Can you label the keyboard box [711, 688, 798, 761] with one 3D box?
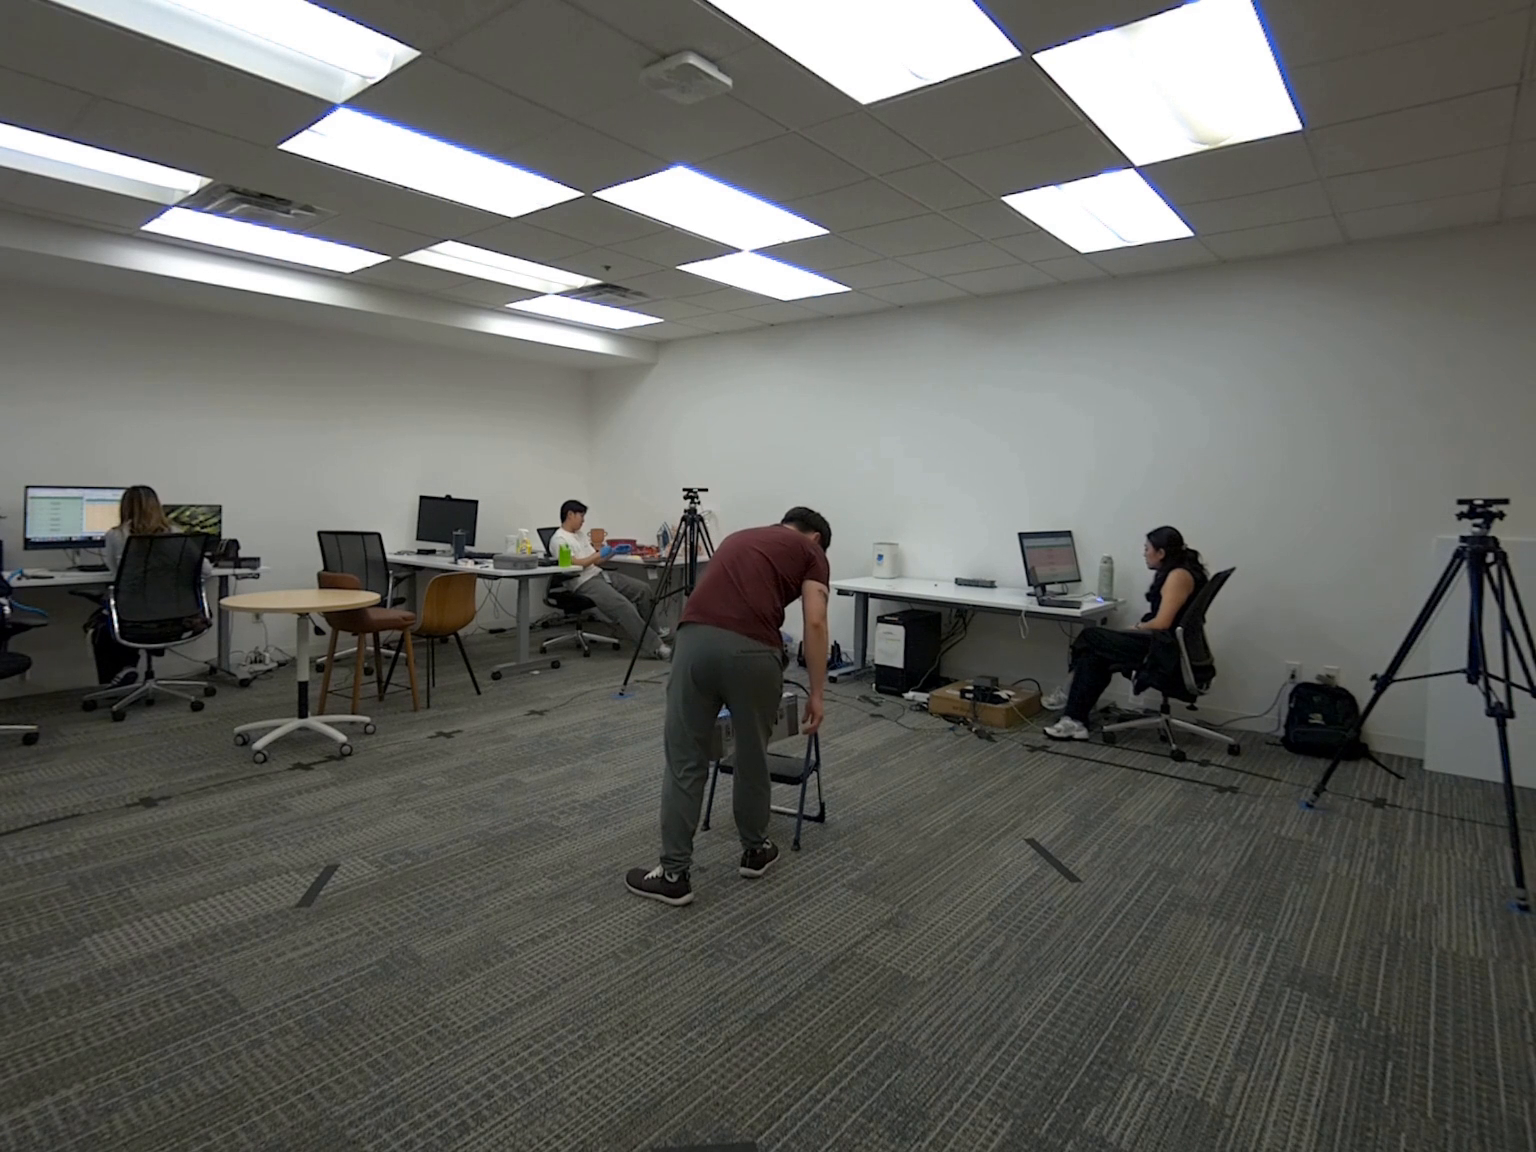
[{"bbox_3d":[-0.076,0.594,3.414,0.426,0.174,0.061,-10,11,-34],"label":"keyboard box"}]
